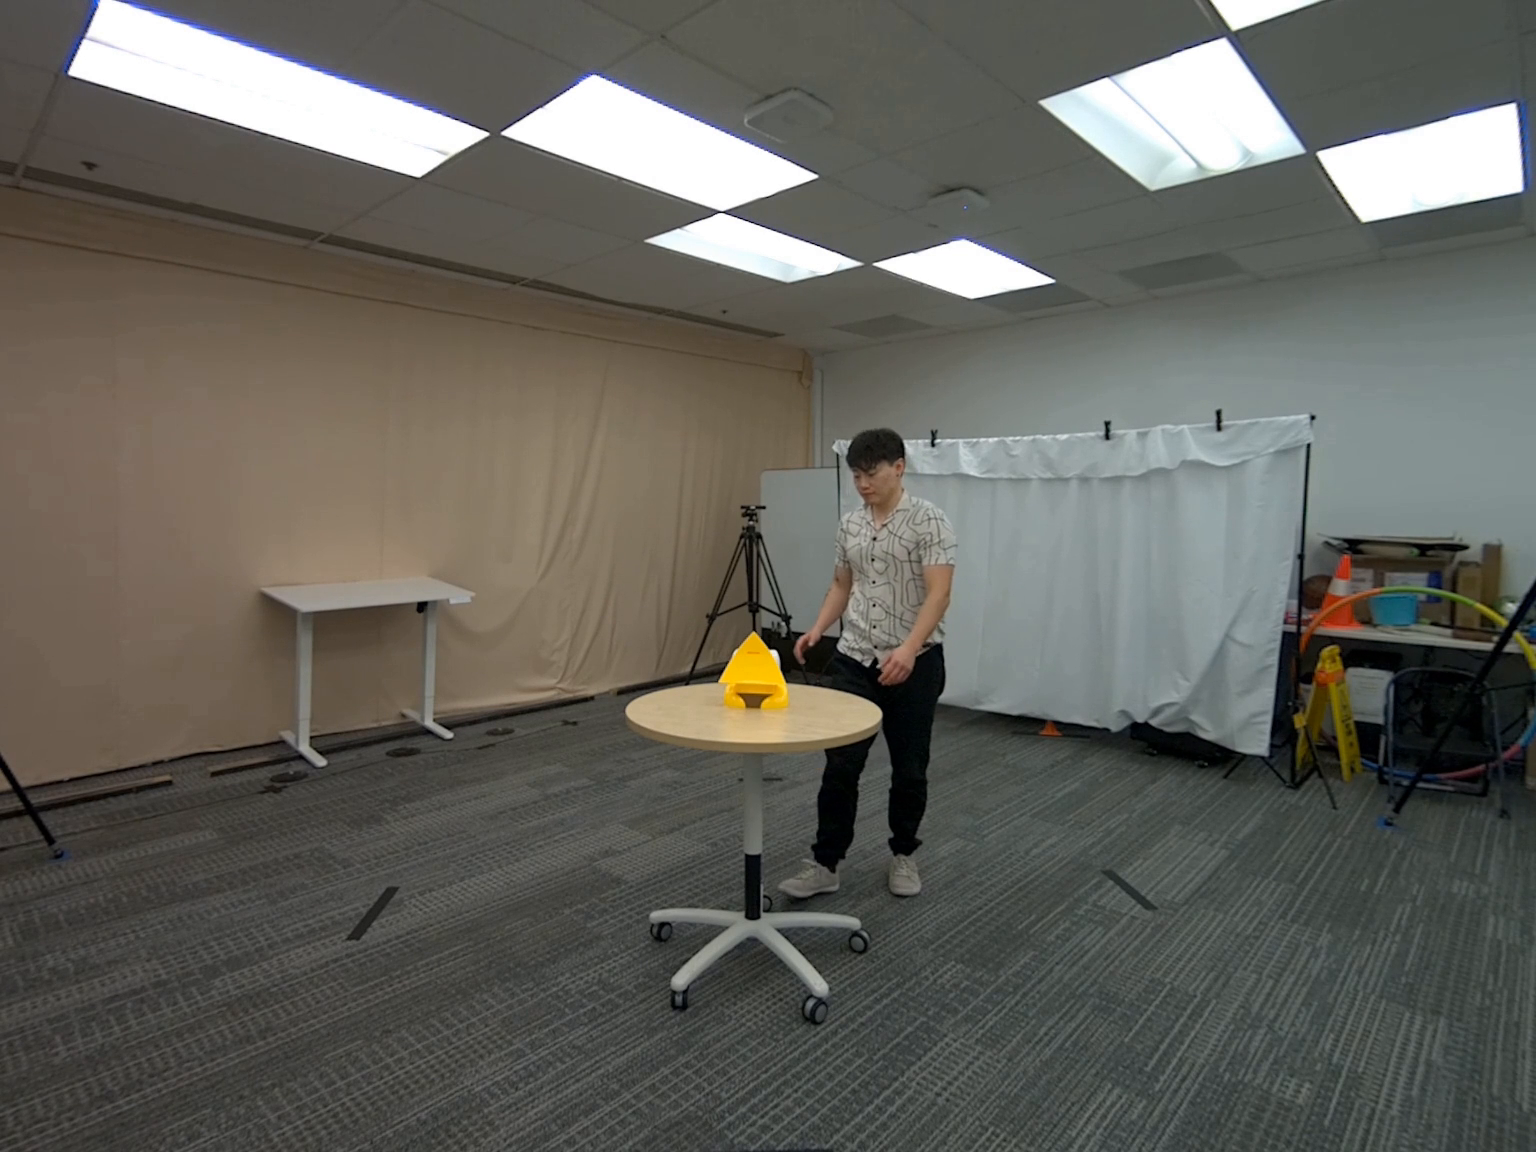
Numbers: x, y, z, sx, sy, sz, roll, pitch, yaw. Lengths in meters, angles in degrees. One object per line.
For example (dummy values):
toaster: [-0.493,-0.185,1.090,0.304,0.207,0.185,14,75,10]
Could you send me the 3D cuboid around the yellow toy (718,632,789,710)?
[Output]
yellow toy: [-0.028,0.281,2.593,0.207,0.230,0.191,1,3,9]
